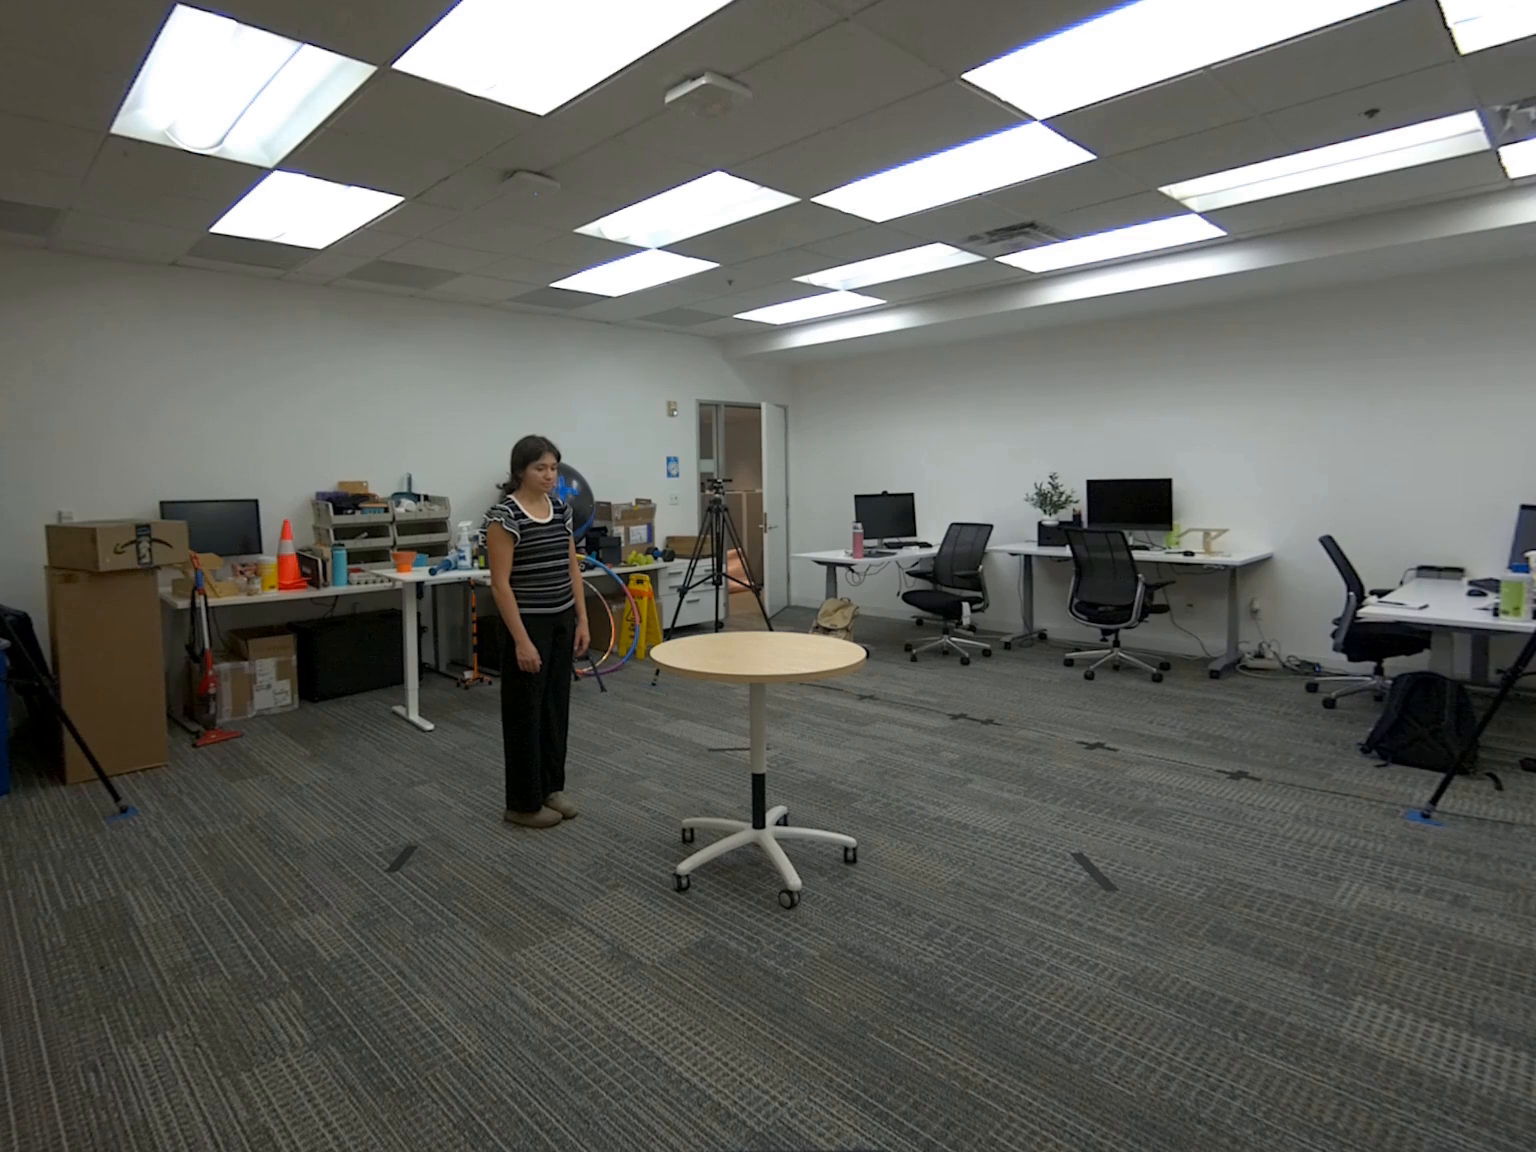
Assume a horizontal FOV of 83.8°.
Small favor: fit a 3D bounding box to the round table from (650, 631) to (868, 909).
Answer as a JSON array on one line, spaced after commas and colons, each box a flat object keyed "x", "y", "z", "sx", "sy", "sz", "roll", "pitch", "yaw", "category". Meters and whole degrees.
[{"x": -0.038, "y": 0.659, "z": 3.068, "sx": 0.763, "sy": 0.791, "sz": 0.768, "roll": -1, "pitch": 5, "yaw": -2, "category": "round table"}]
